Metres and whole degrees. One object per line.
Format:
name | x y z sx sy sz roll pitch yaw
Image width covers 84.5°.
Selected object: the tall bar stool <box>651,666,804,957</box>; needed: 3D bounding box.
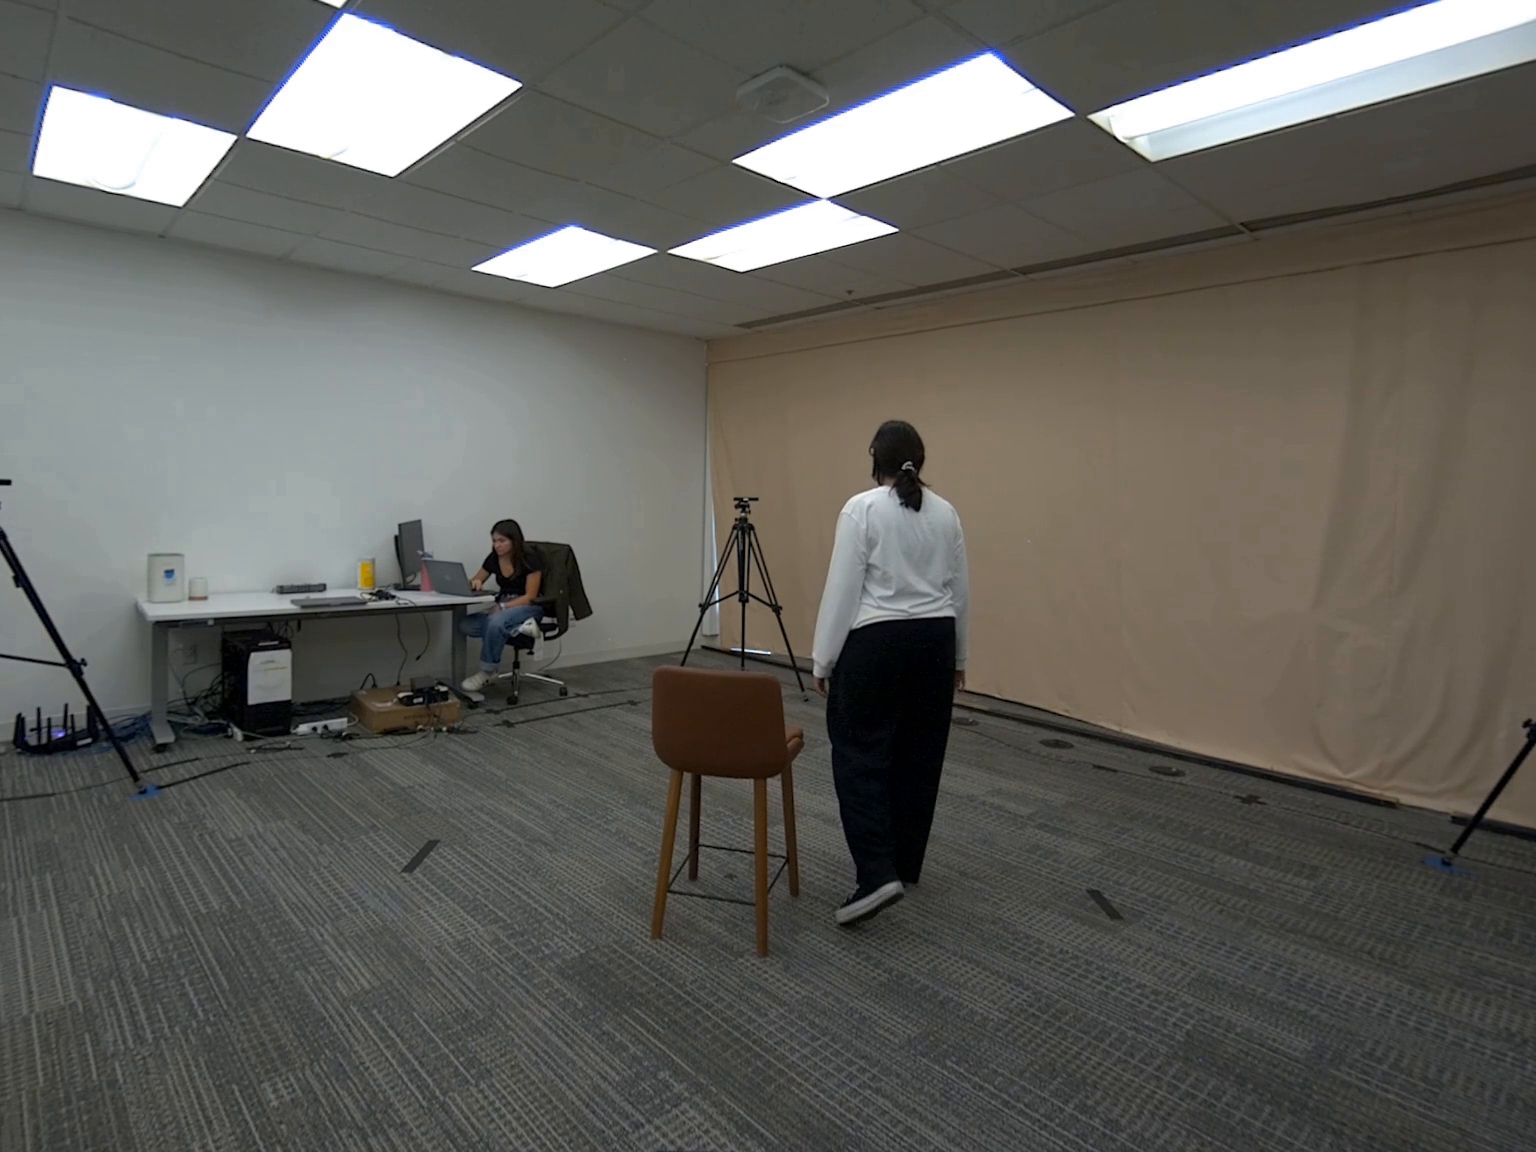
tall bar stool | -0.134 0.705 2.784 0.462 0.886 0.463 2 5 15
